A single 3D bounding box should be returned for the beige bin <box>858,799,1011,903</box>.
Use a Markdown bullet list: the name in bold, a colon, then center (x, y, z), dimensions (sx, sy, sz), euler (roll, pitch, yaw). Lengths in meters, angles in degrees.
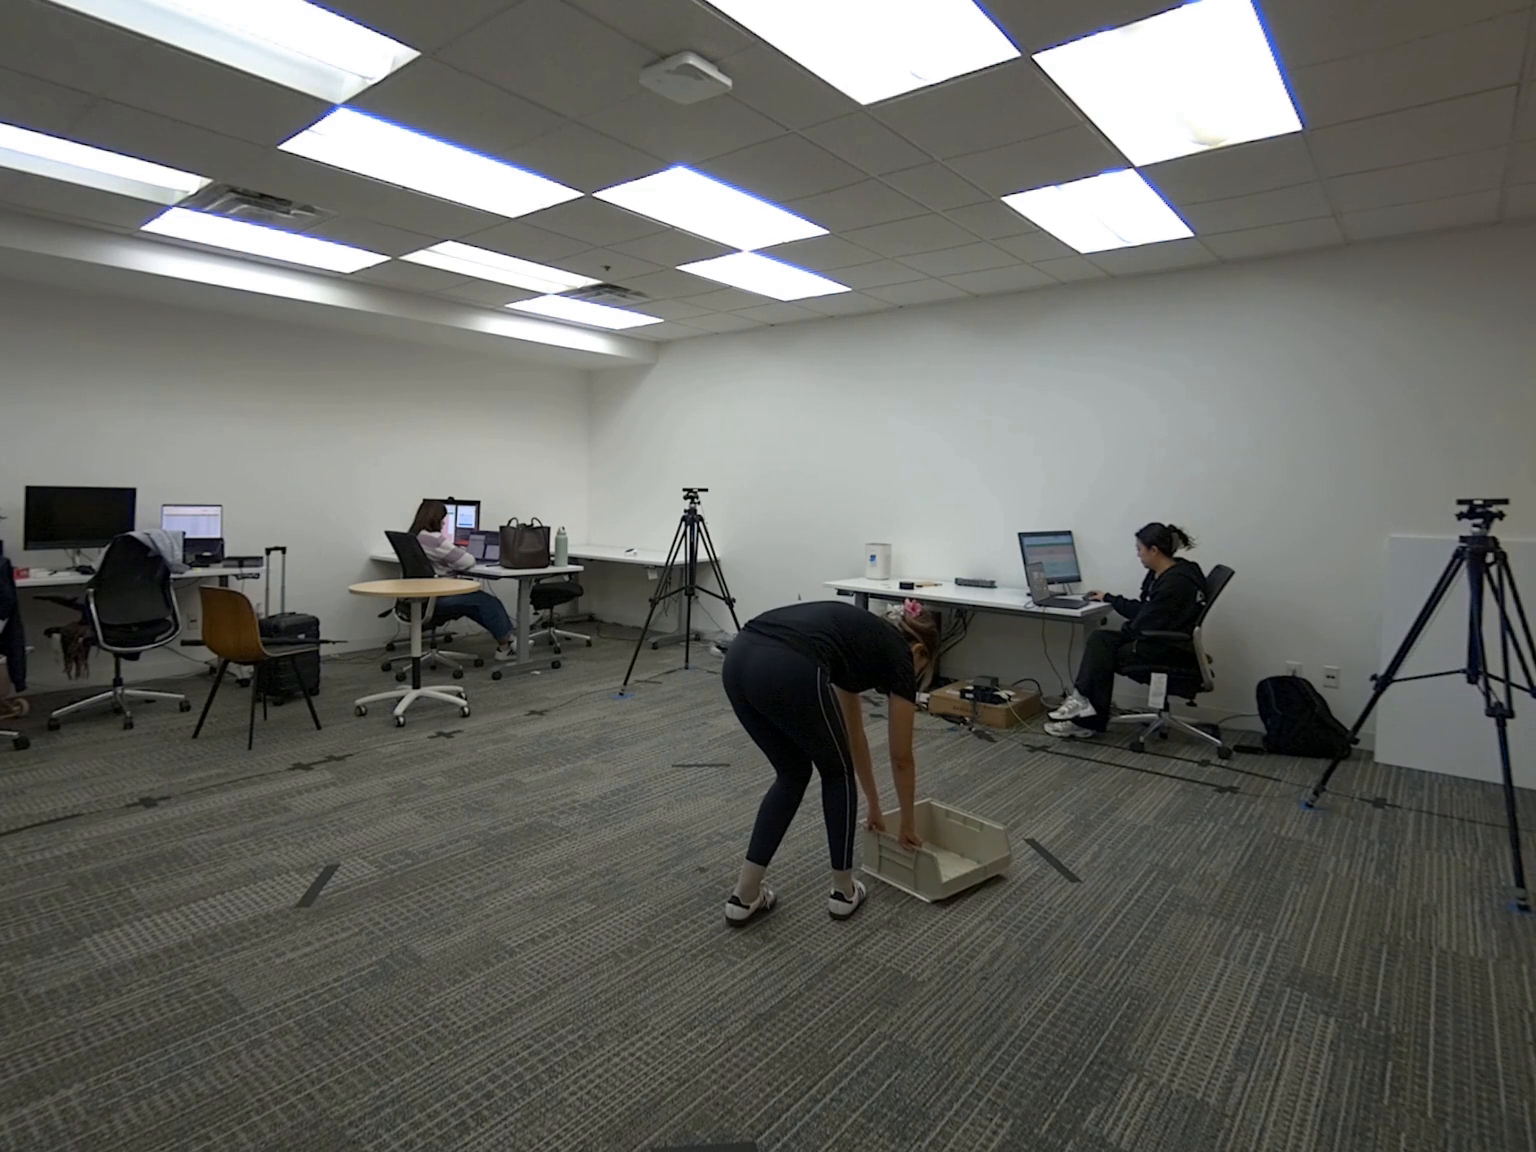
- **beige bin**: center (0.604, 0.997, 3.121), dimensions (0.410, 0.188, 0.390), euler (-4, 6, -40)
